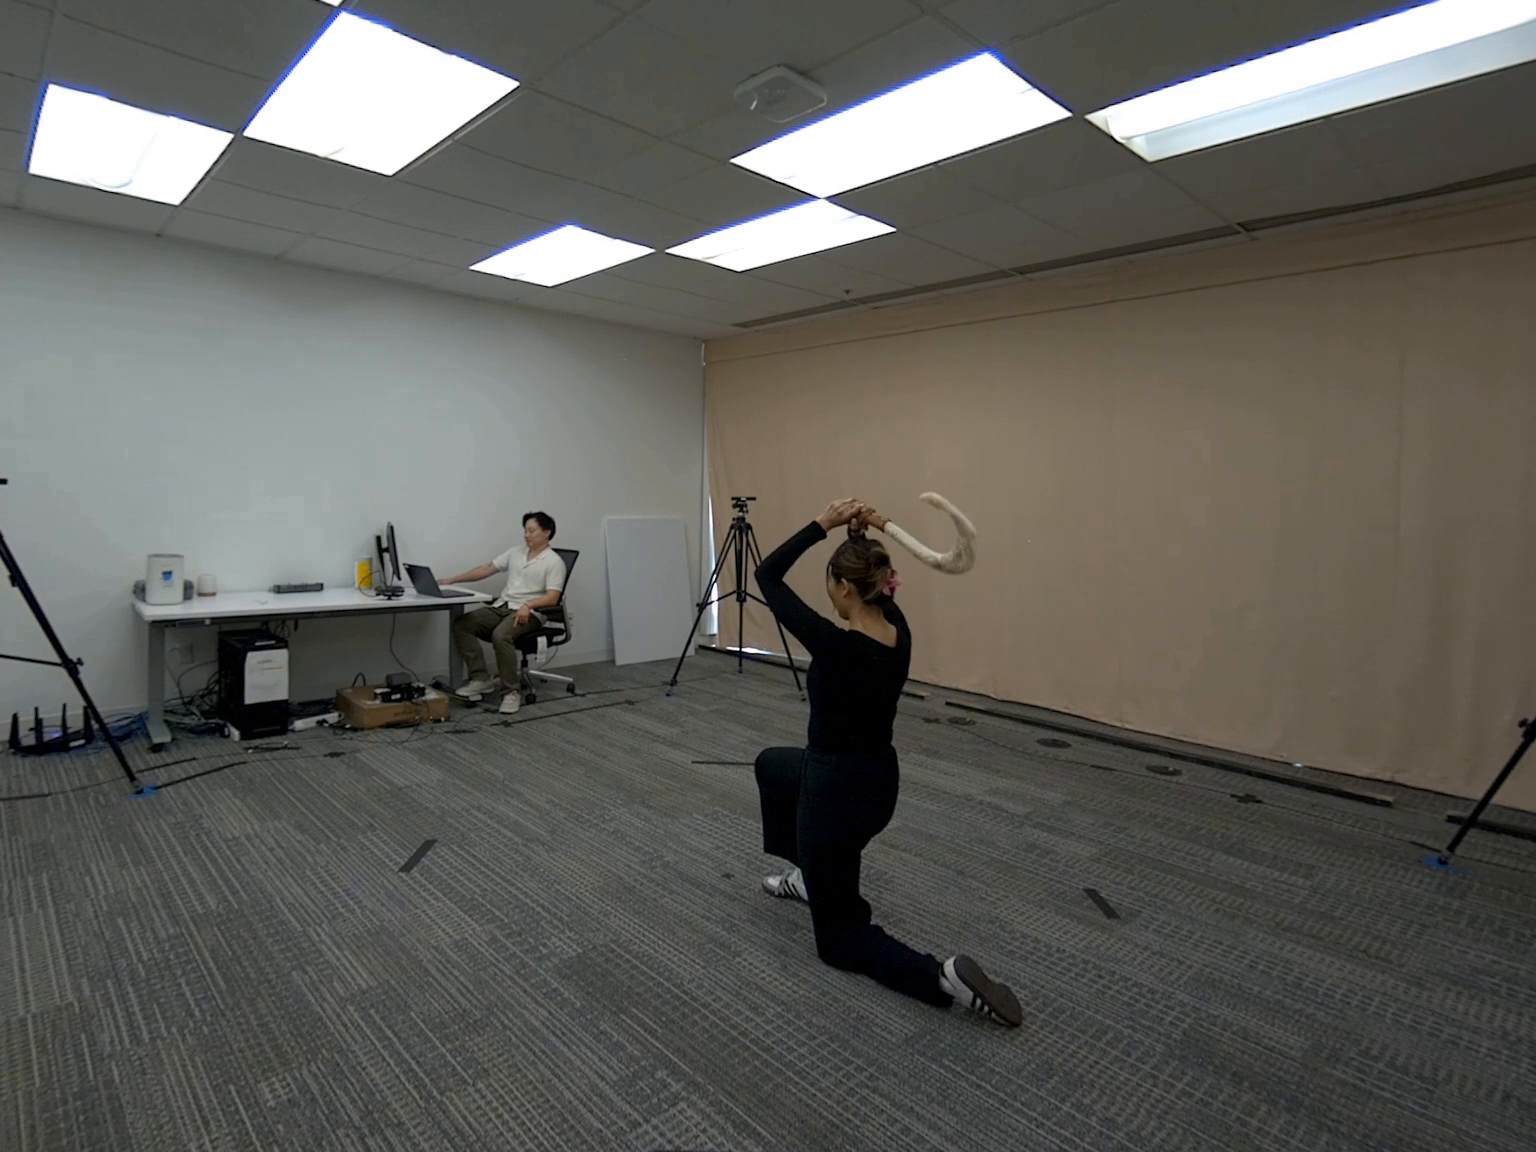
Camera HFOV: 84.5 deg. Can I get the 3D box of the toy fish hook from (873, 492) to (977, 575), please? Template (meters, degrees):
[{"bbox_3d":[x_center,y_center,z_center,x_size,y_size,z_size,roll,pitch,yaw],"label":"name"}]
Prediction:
[{"bbox_3d":[0.374,-0.192,2.405,0.047,0.221,0.523,-15,30,-36],"label":"toy fish hook"}]
